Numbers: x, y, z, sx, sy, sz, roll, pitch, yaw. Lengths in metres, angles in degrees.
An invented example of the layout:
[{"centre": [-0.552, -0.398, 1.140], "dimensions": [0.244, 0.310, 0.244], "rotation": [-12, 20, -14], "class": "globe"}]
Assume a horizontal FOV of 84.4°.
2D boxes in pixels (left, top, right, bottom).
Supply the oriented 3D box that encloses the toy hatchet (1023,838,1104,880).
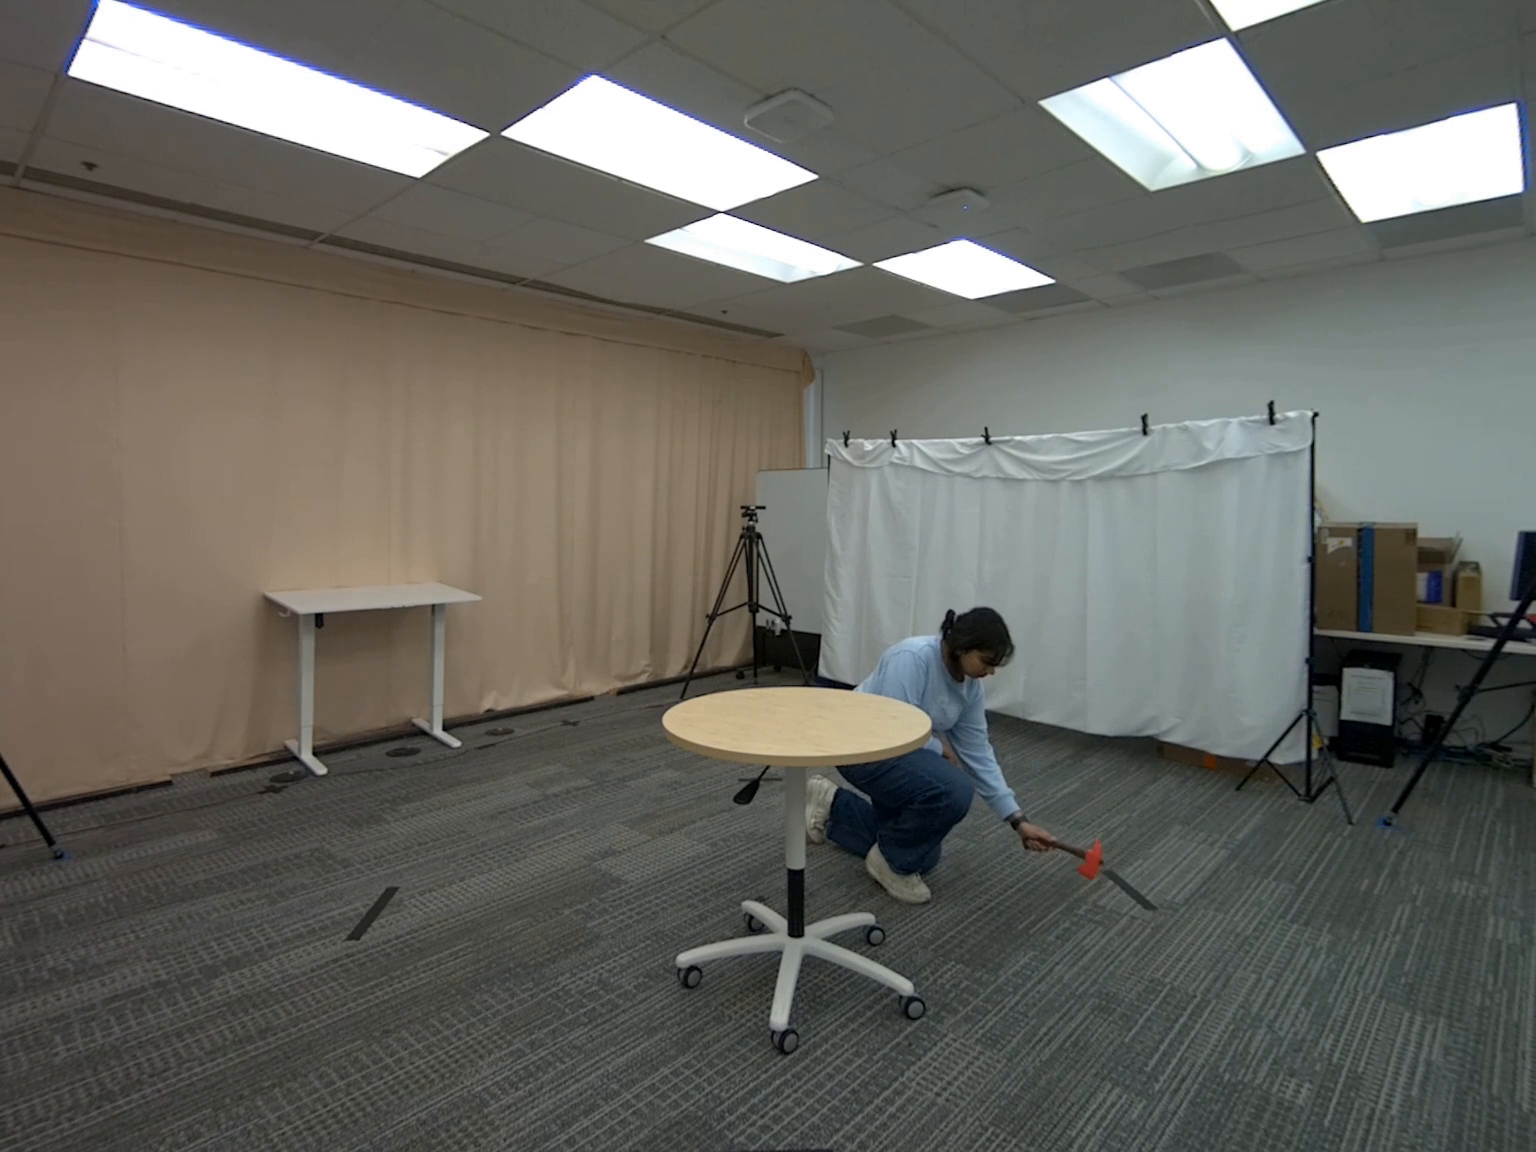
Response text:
[{"centre": [1.018, 0.960, 2.862], "dimensions": [0.277, 0.132, 0.028], "rotation": [-14, -17, 40], "class": "toy hatchet"}]
